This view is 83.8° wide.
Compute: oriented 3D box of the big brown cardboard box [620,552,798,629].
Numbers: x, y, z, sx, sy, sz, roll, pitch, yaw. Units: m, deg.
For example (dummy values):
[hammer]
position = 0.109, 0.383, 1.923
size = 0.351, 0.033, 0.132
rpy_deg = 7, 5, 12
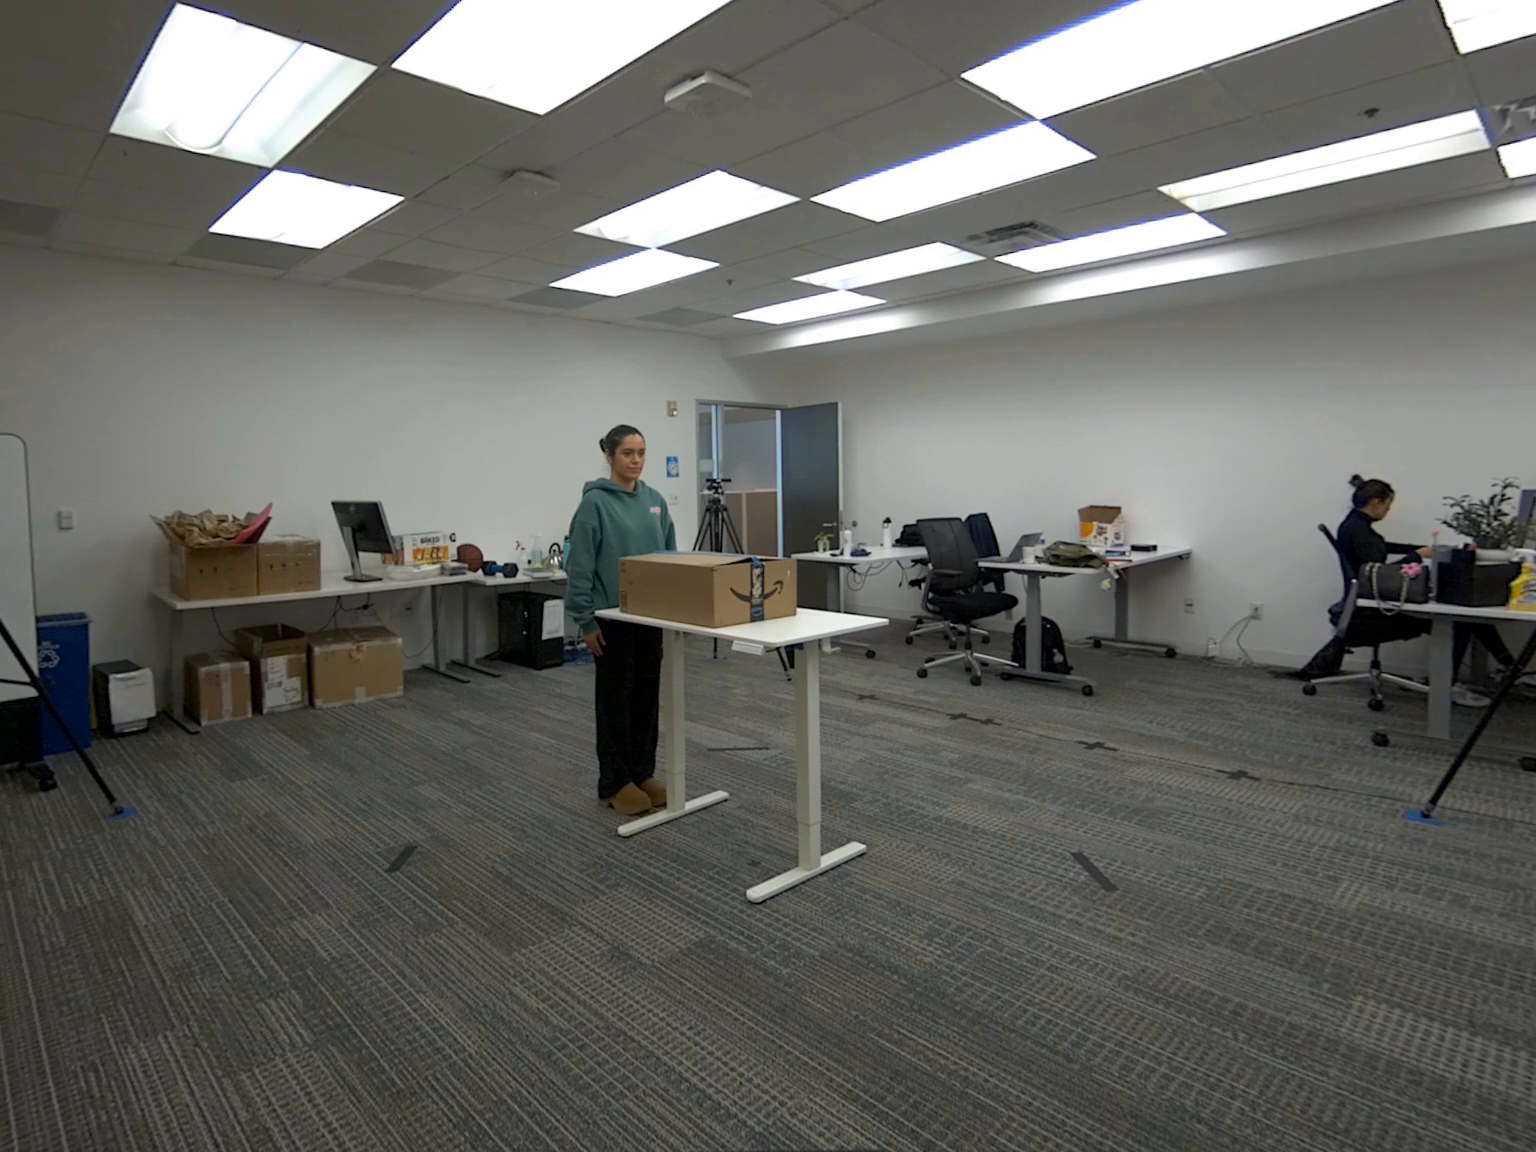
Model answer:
[big brown cardboard box]
position = -0.233, 0.038, 3.270
size = 0.406, 0.232, 0.607
rpy_deg = -6, 7, -43
